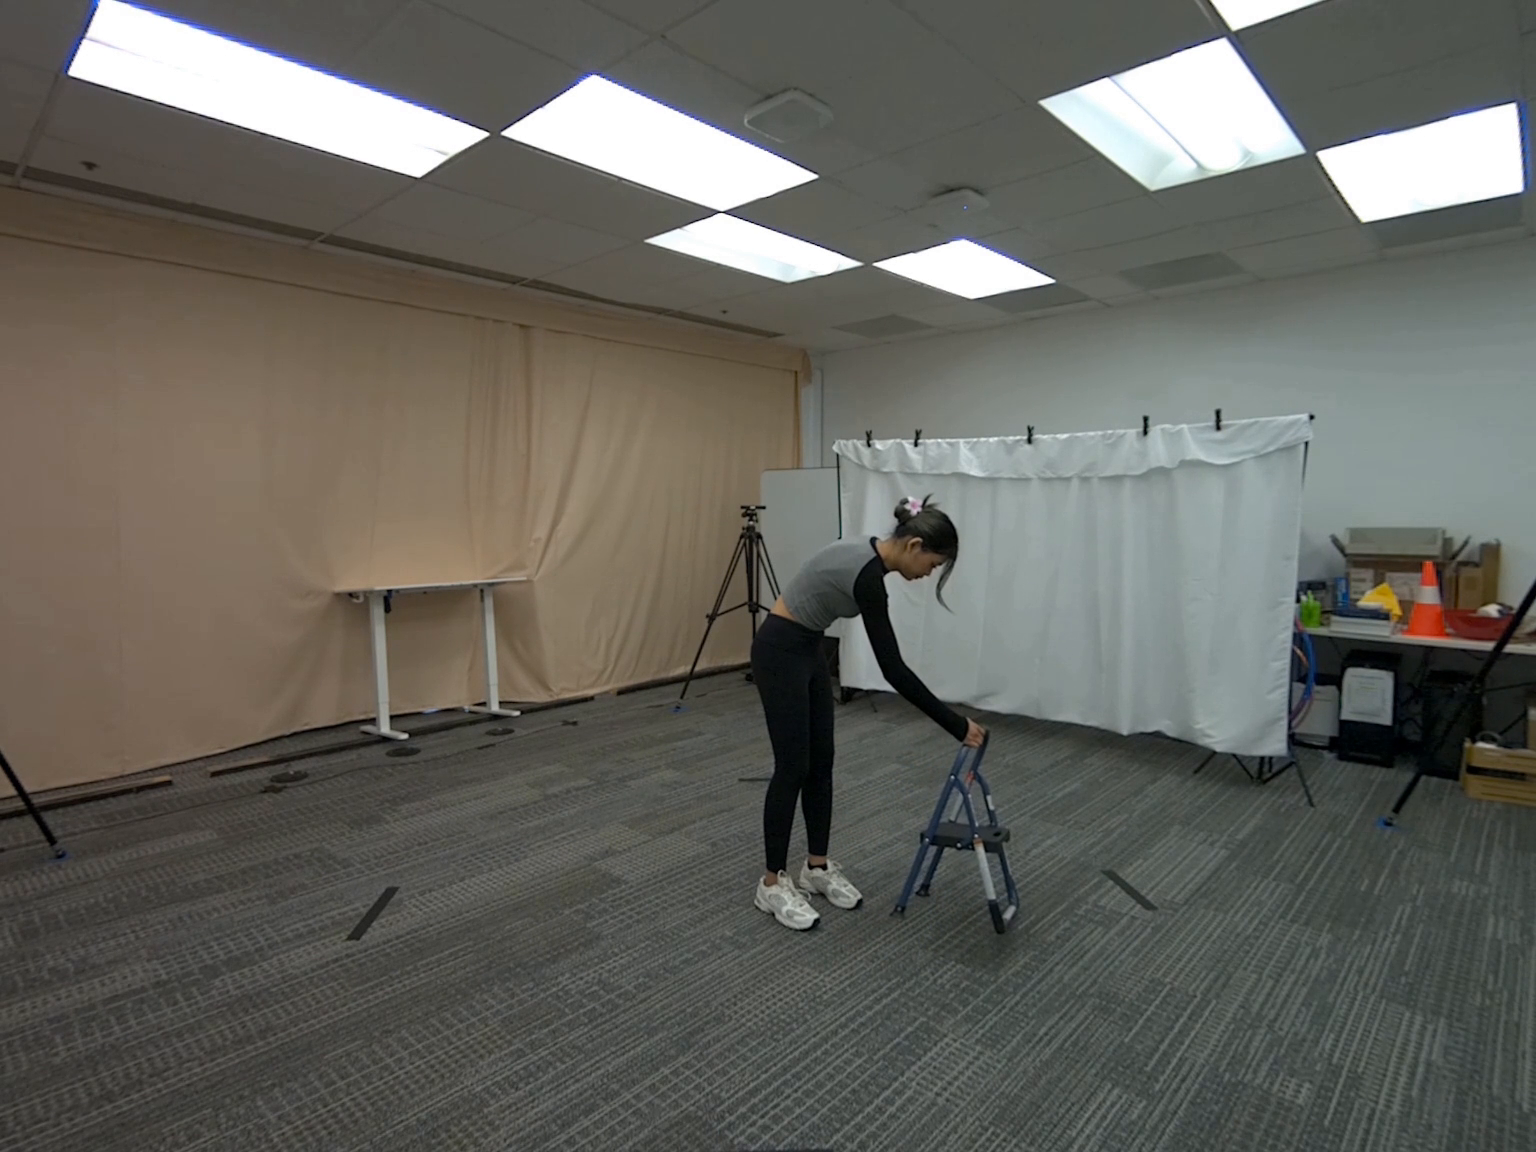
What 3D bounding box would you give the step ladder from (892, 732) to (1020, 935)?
[{"bbox_3d":[0.645,0.810,2.813,0.358,0.609,0.418,-1,-10,24],"label":"step ladder"}]
